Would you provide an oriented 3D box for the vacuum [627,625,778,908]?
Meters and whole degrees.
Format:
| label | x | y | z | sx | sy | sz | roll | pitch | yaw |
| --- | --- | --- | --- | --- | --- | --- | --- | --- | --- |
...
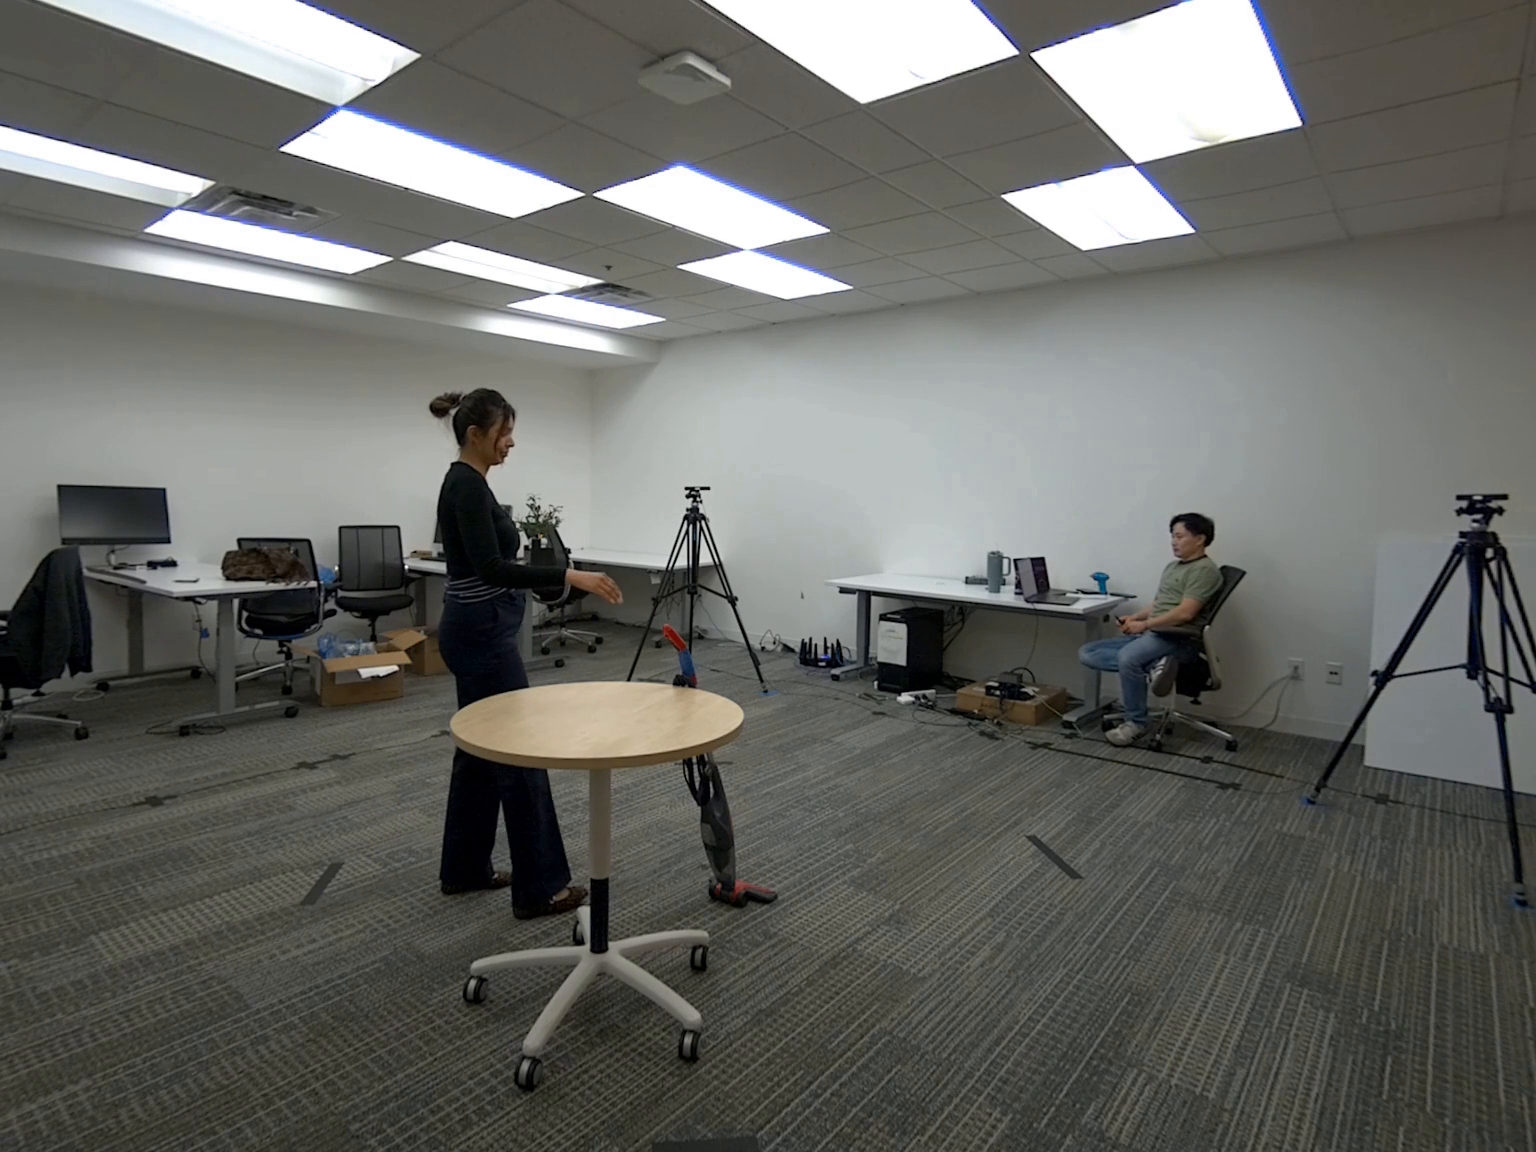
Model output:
| label | x | y | z | sx | sy | sz | roll | pitch | yaw |
| --- | --- | --- | --- | --- | --- | --- | --- | --- | --- |
| vacuum | -0.209 | 0.624 | 2.703 | 0.261 | 1.025 | 0.143 | 4 | 26 | 35 |
